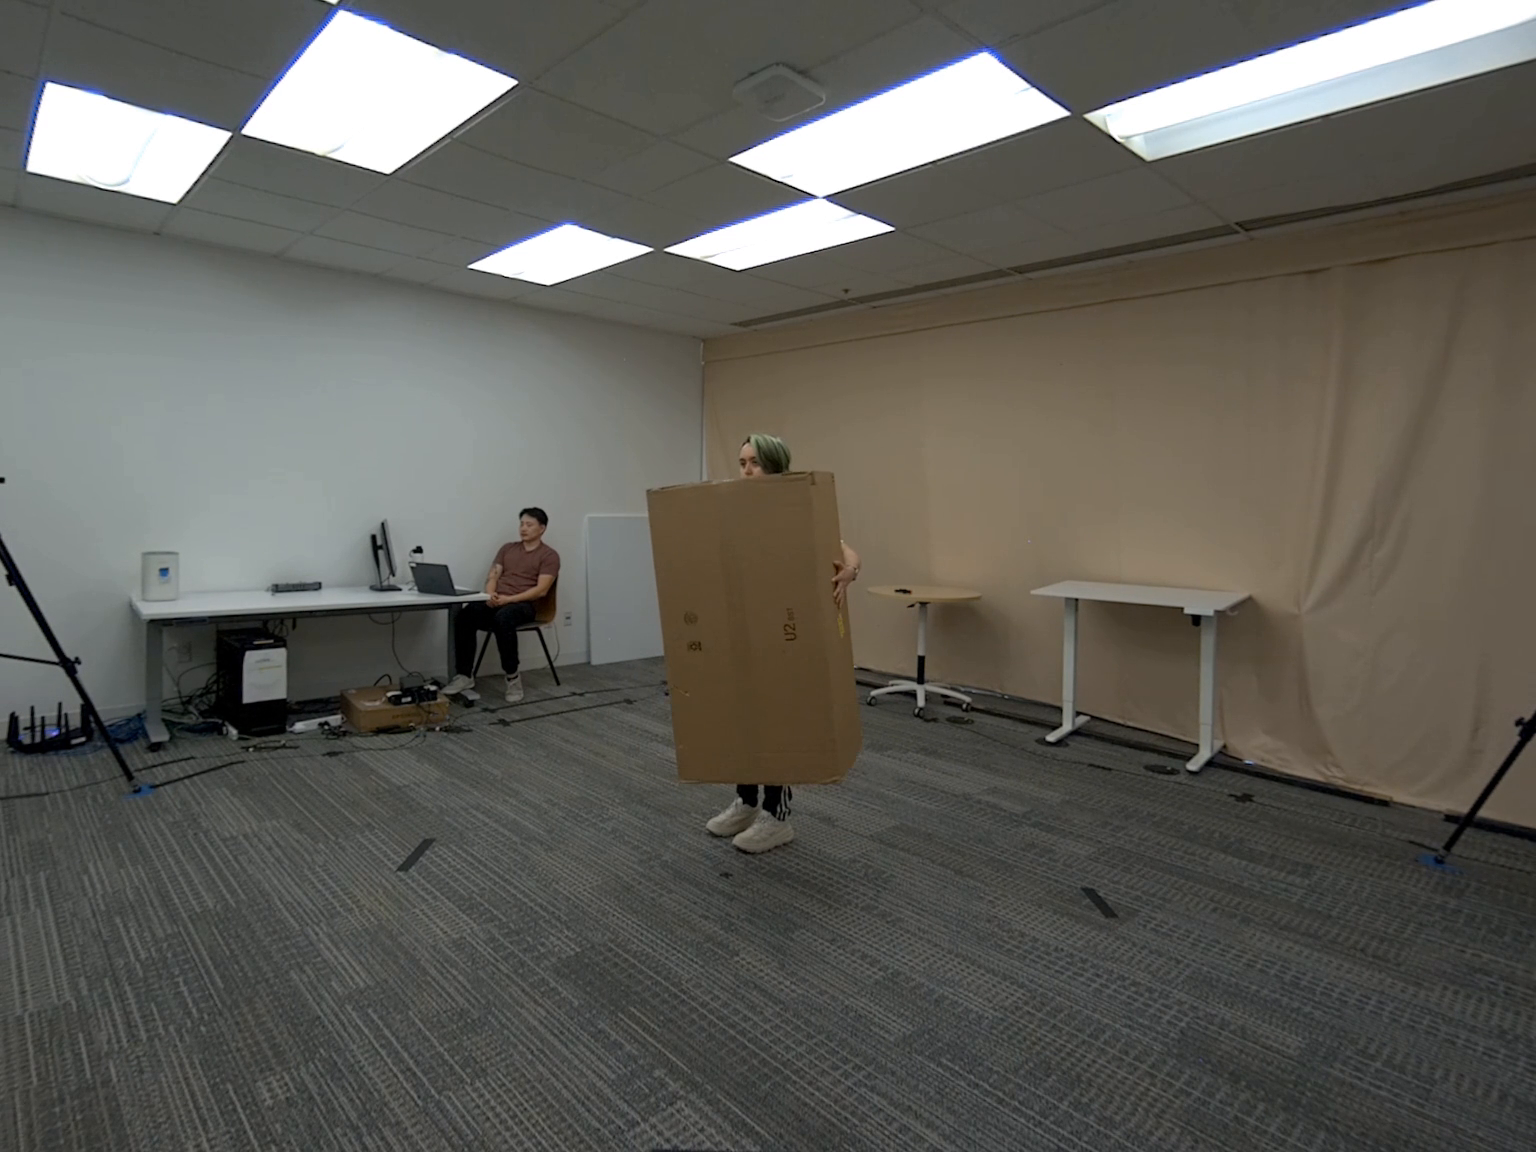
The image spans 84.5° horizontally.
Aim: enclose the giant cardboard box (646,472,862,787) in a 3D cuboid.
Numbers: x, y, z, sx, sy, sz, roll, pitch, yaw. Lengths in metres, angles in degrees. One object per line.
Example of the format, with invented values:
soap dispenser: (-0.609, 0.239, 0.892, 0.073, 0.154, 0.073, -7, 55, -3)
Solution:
giant cardboard box: (-0.045, 0.173, 2.986, 0.585, 1.024, 0.421, -6, 2, 19)
